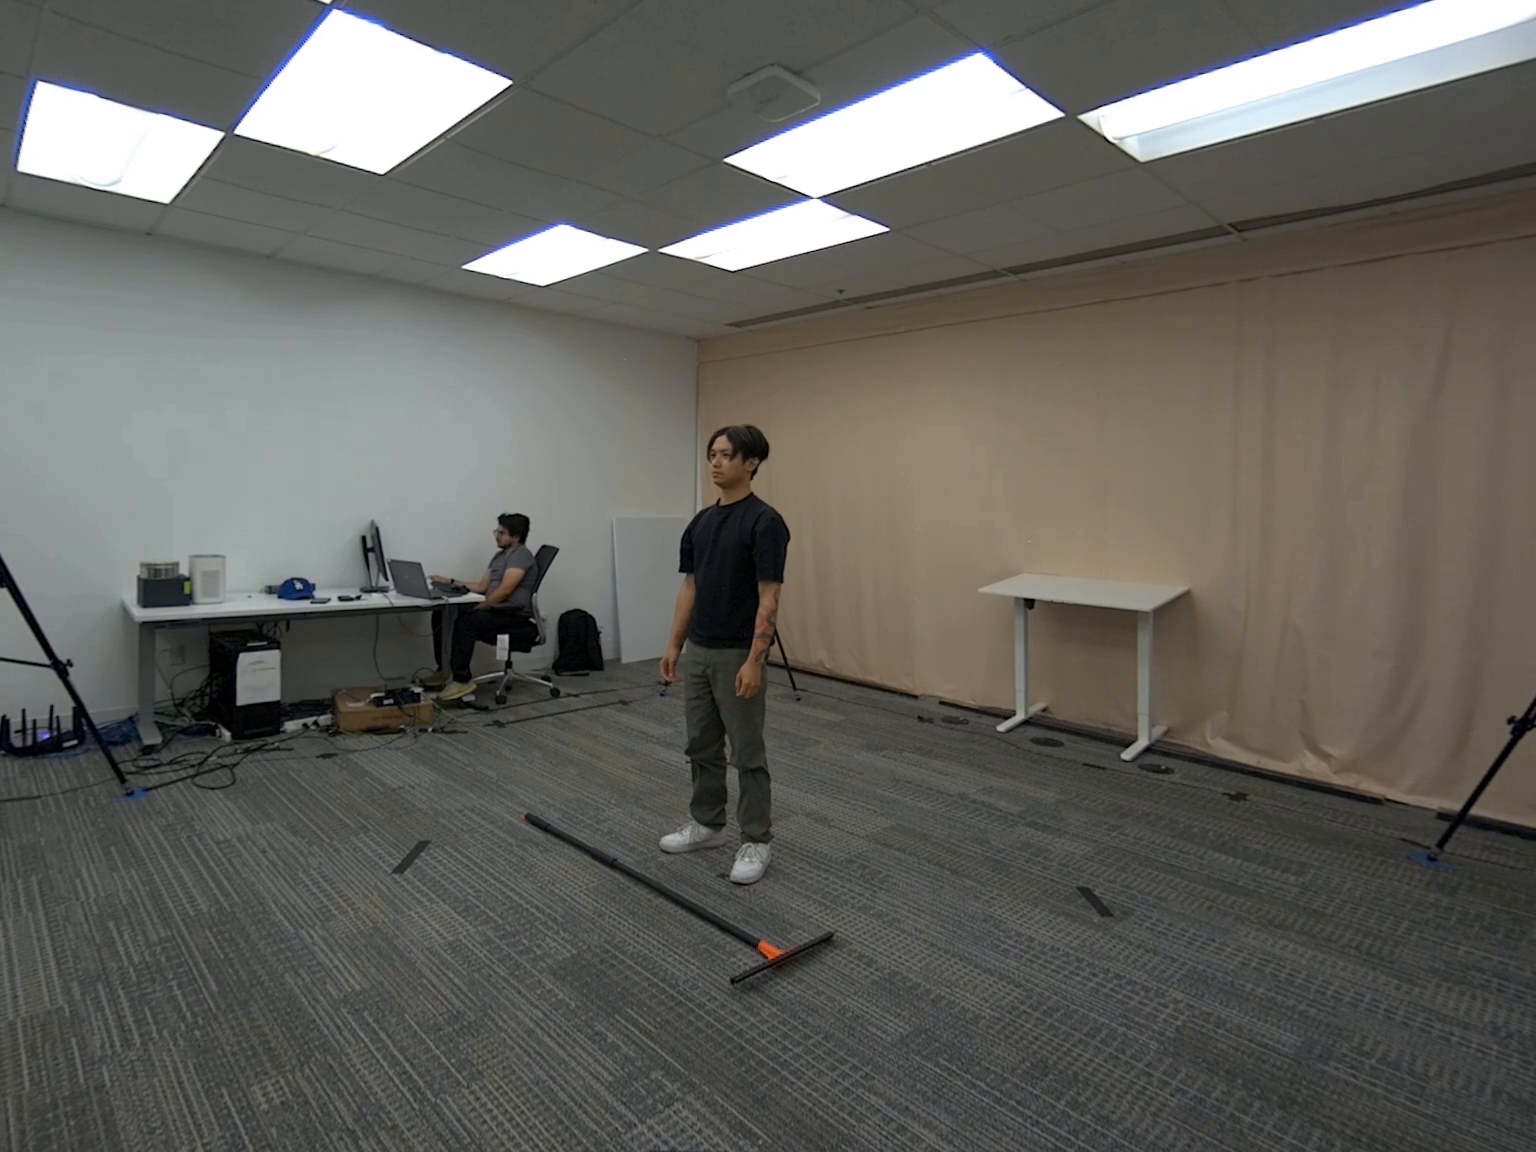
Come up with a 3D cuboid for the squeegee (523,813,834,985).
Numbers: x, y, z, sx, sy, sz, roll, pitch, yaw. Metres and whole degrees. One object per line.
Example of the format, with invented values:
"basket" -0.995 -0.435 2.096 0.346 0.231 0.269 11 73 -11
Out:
"squeegee" -0.481 1.065 3.055 0.427 0.053 1.577 -1 5 -44
